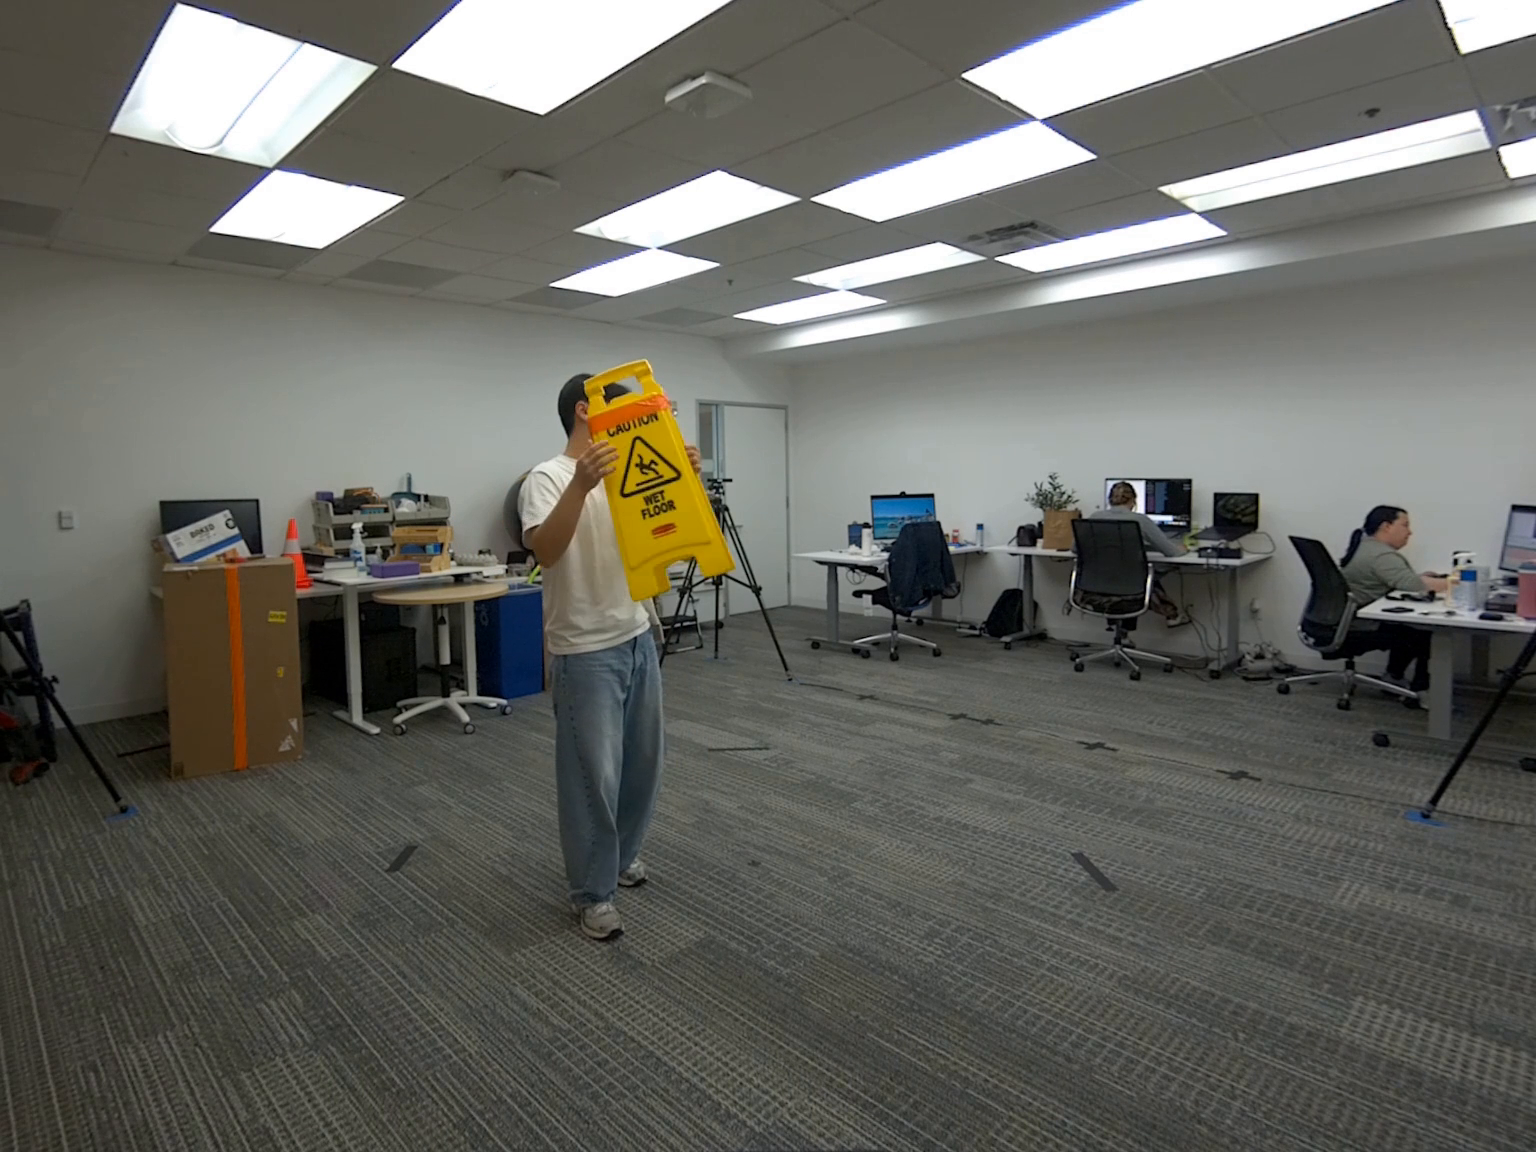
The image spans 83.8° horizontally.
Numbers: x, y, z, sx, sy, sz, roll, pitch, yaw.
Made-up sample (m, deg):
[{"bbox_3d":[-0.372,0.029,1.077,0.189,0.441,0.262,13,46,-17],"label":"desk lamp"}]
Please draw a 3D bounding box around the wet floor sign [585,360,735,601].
[{"bbox_3d":[-0.338,-0.284,2.426,0.282,0.648,0.288,-18,-2,1],"label":"wet floor sign"}]
